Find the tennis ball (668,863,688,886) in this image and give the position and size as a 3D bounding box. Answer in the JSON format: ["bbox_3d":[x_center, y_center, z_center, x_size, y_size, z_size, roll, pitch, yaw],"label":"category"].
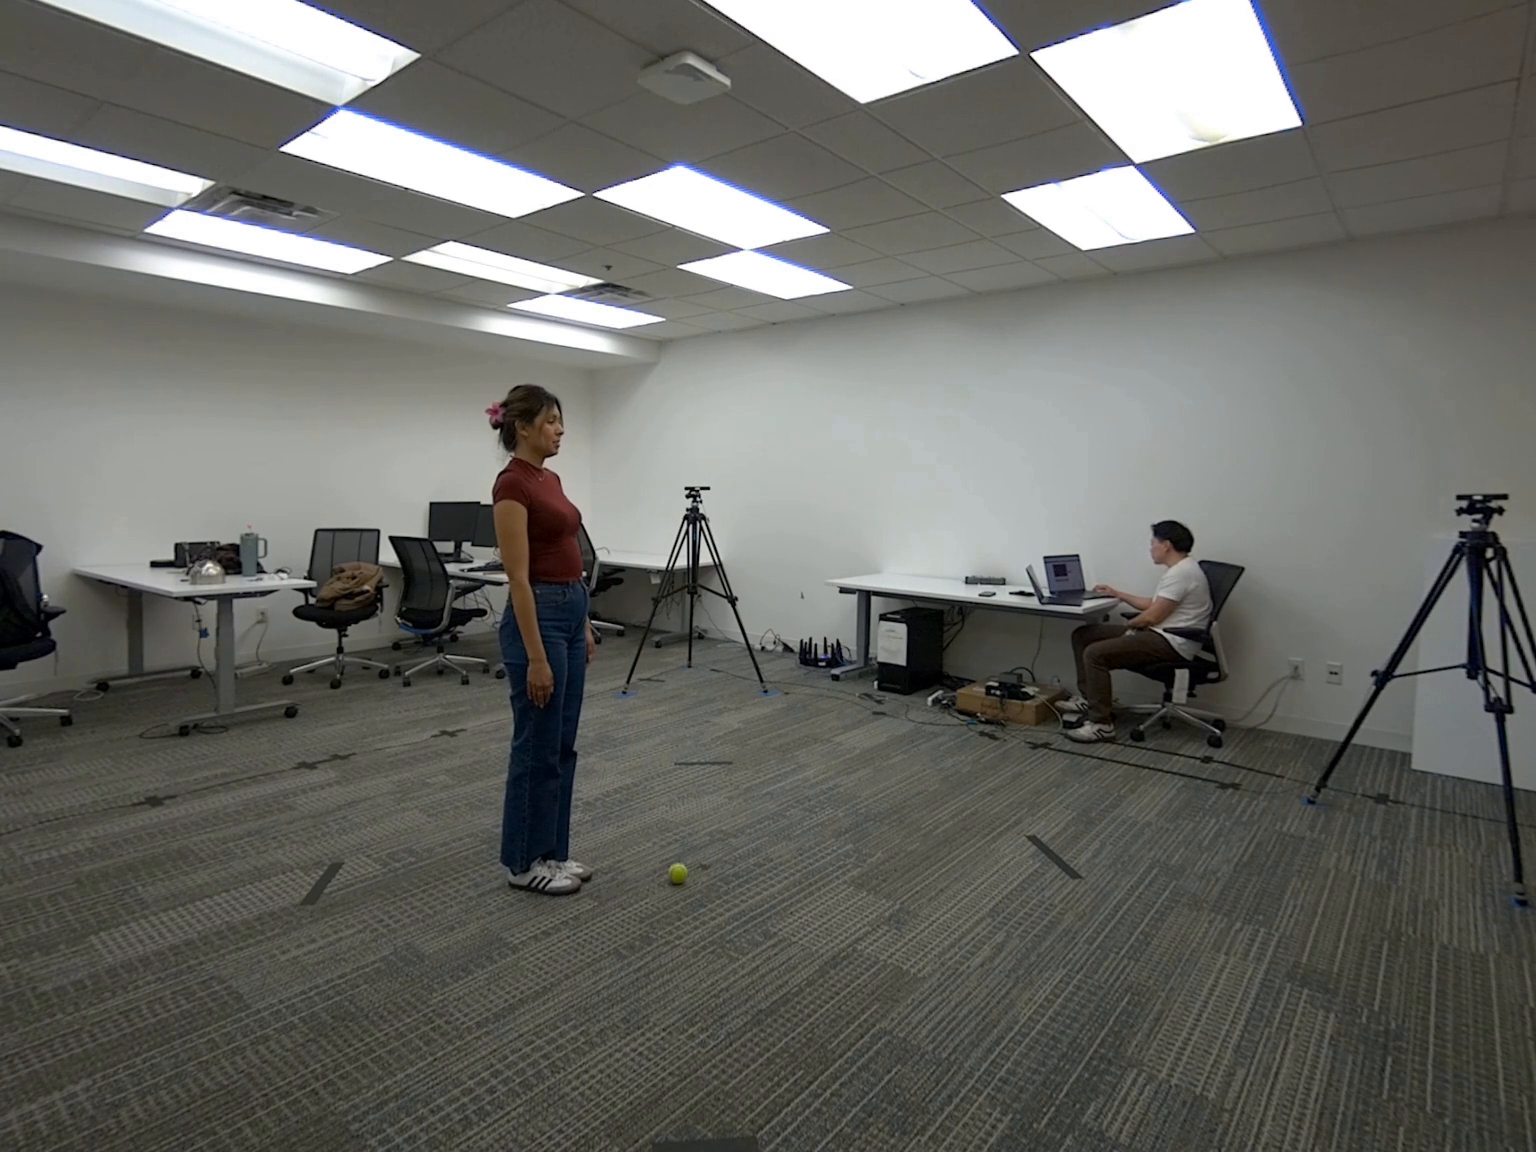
[{"bbox_3d":[-0.335,1.040,2.980,0.066,0.066,0.067,1,4,-2],"label":"tennis ball"}]
